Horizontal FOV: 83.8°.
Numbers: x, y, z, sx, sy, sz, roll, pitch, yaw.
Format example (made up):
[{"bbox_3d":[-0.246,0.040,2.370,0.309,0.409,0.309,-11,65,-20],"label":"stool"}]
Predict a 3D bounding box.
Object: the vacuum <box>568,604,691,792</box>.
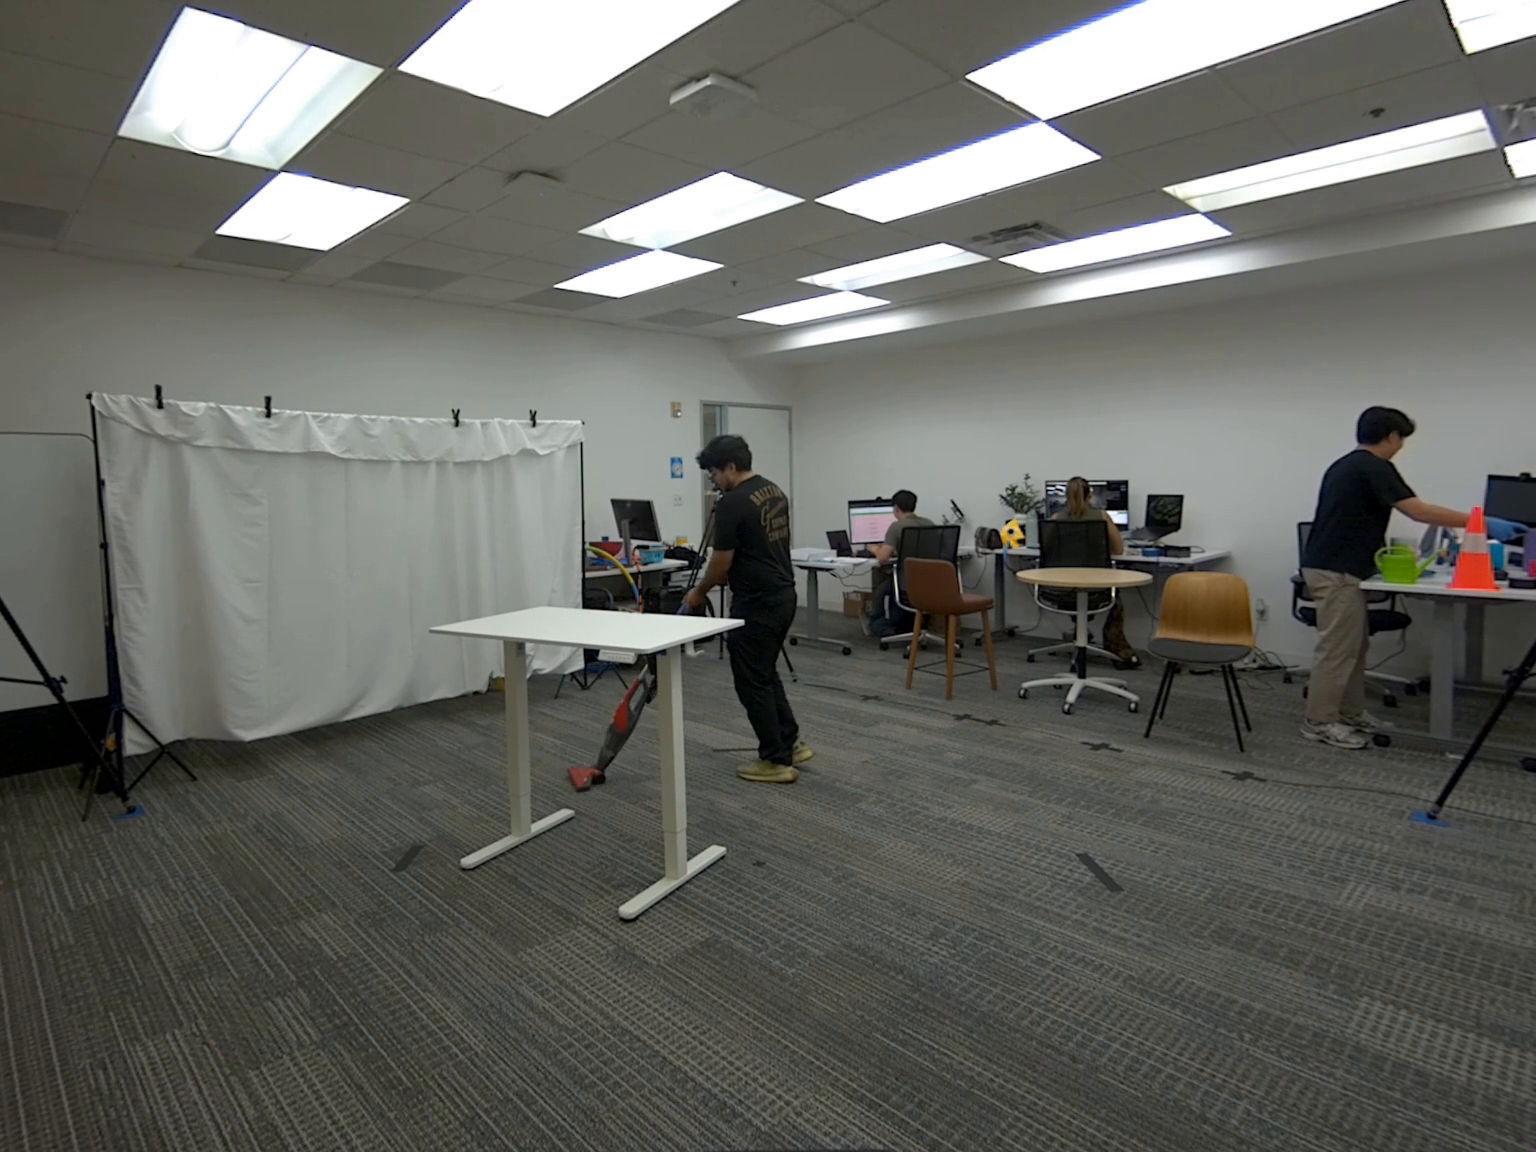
[{"bbox_3d":[-0.586,0.506,4.076,0.139,1.052,0.260,33,-10,-28],"label":"vacuum"}]
